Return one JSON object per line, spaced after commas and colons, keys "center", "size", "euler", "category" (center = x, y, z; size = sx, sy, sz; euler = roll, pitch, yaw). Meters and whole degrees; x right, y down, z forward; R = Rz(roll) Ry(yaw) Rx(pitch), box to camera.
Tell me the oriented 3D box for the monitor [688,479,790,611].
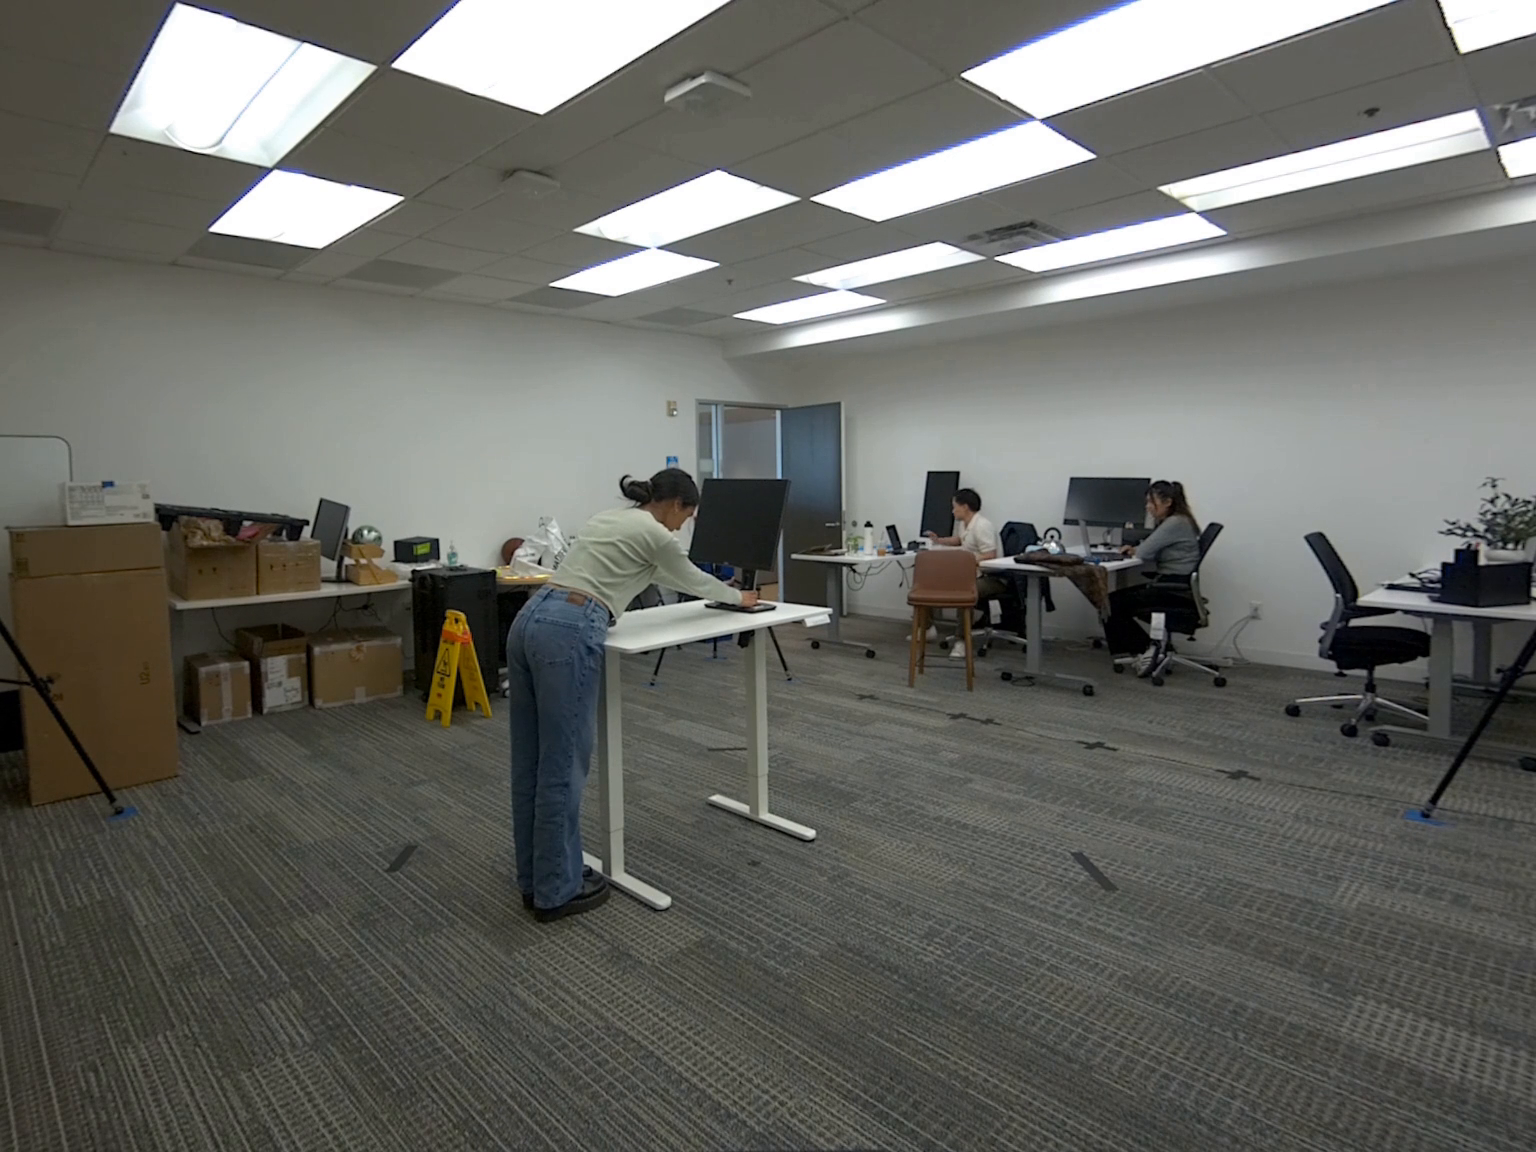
{"center": [-0.103, -0.127, 3.397], "size": [0.182, 0.521, 0.556], "euler": [-2, 5, -39], "category": "monitor"}
